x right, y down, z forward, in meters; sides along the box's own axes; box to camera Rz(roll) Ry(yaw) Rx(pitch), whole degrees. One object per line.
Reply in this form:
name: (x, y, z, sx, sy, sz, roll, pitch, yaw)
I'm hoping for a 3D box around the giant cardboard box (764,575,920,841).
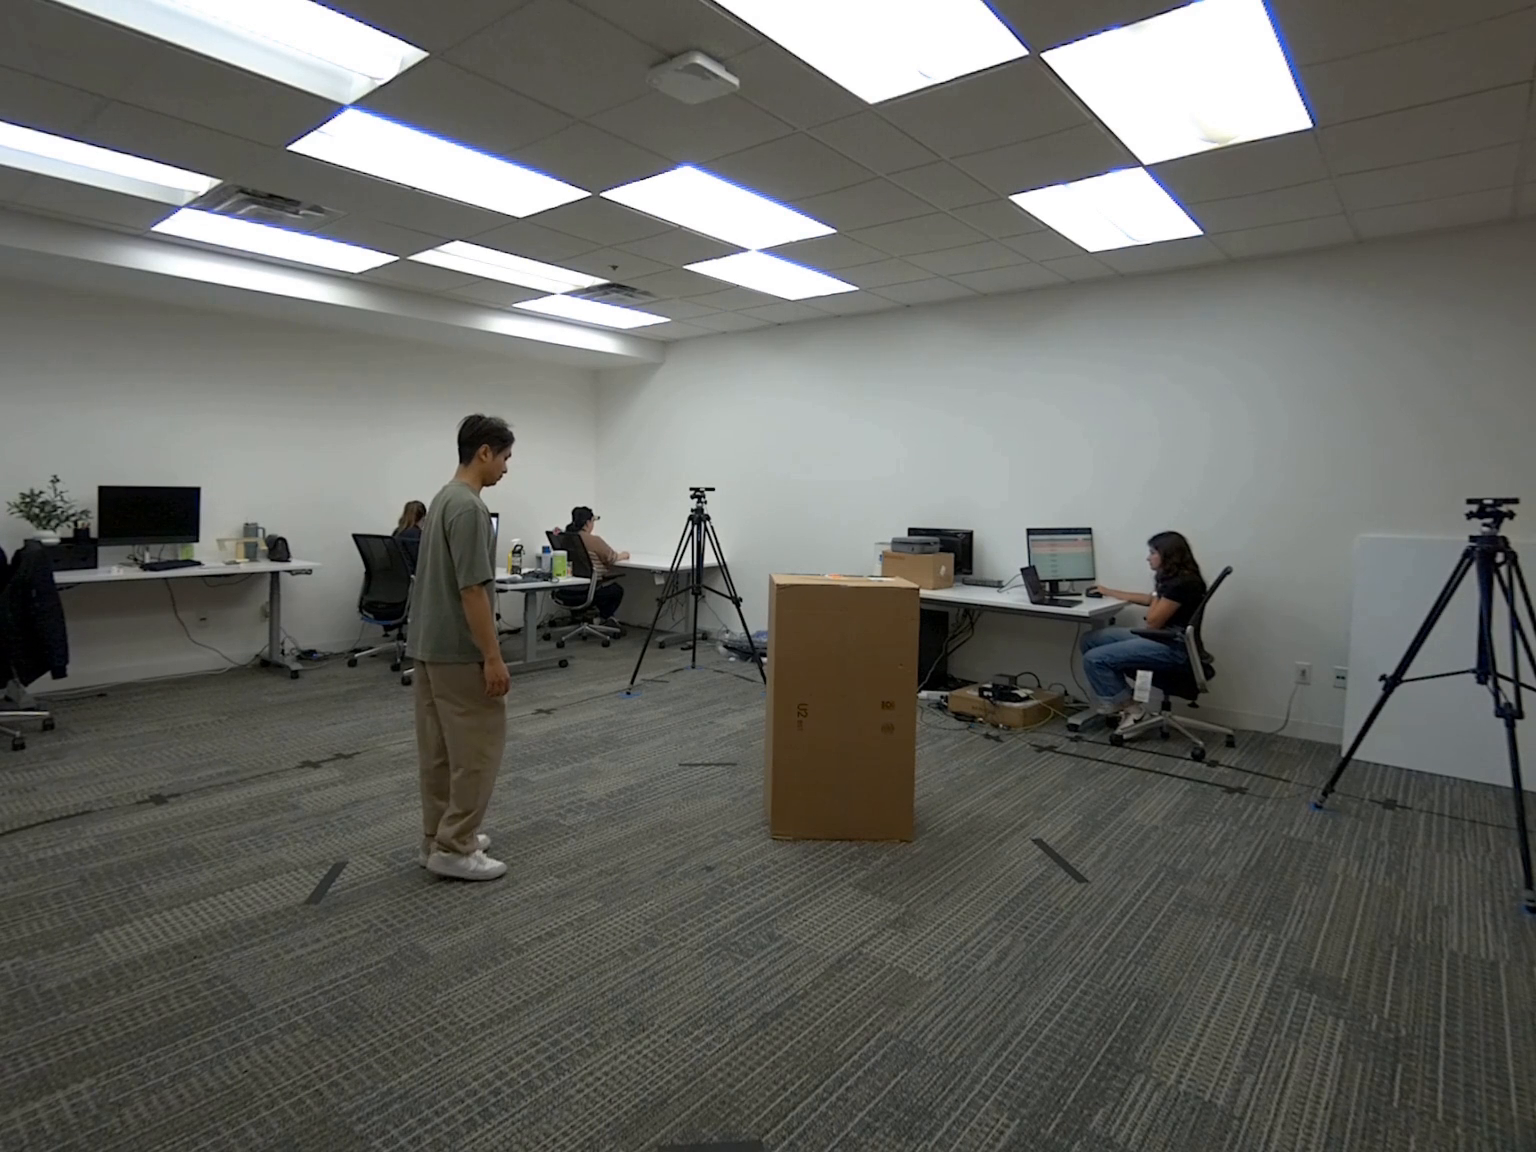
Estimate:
giant cardboard box: (0.288, 0.523, 3.575, 0.577, 1.022, 0.428, 1, 4, -1)
